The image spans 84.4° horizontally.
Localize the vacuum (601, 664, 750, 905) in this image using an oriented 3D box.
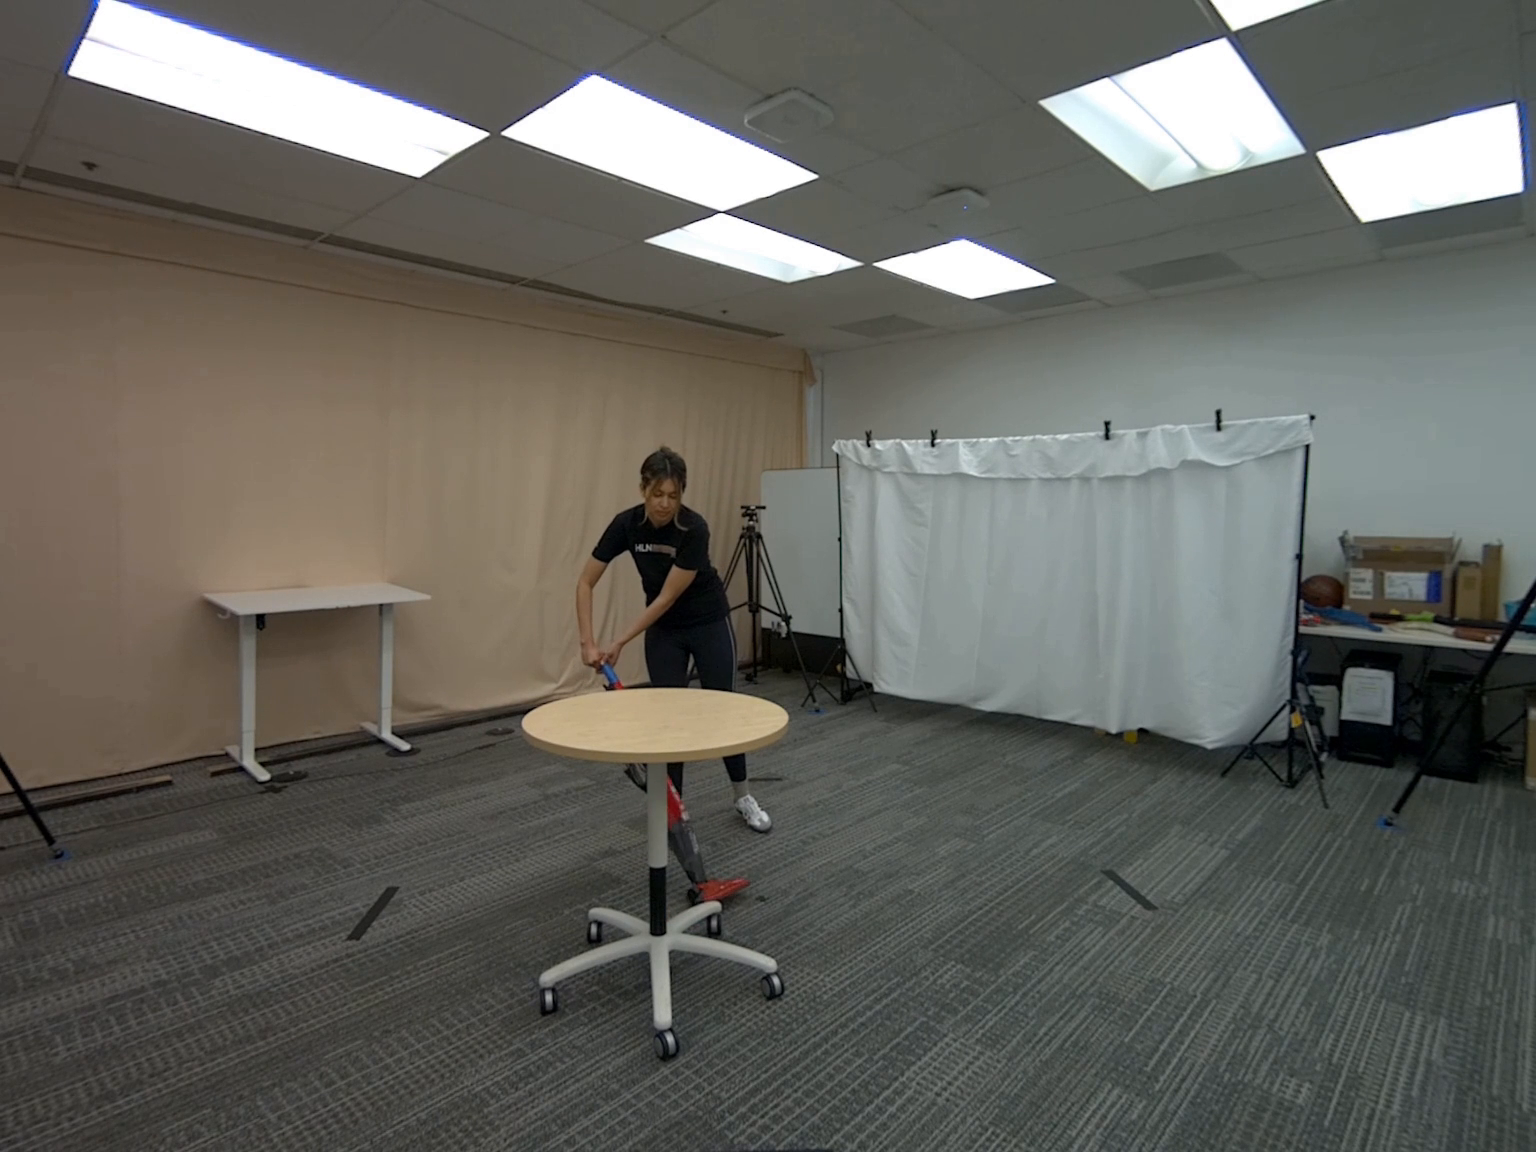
[{"bbox_3d":[-0.445,0.715,3.175,0.245,1.076,0.145,0,-42,-52],"label":"vacuum"}]
